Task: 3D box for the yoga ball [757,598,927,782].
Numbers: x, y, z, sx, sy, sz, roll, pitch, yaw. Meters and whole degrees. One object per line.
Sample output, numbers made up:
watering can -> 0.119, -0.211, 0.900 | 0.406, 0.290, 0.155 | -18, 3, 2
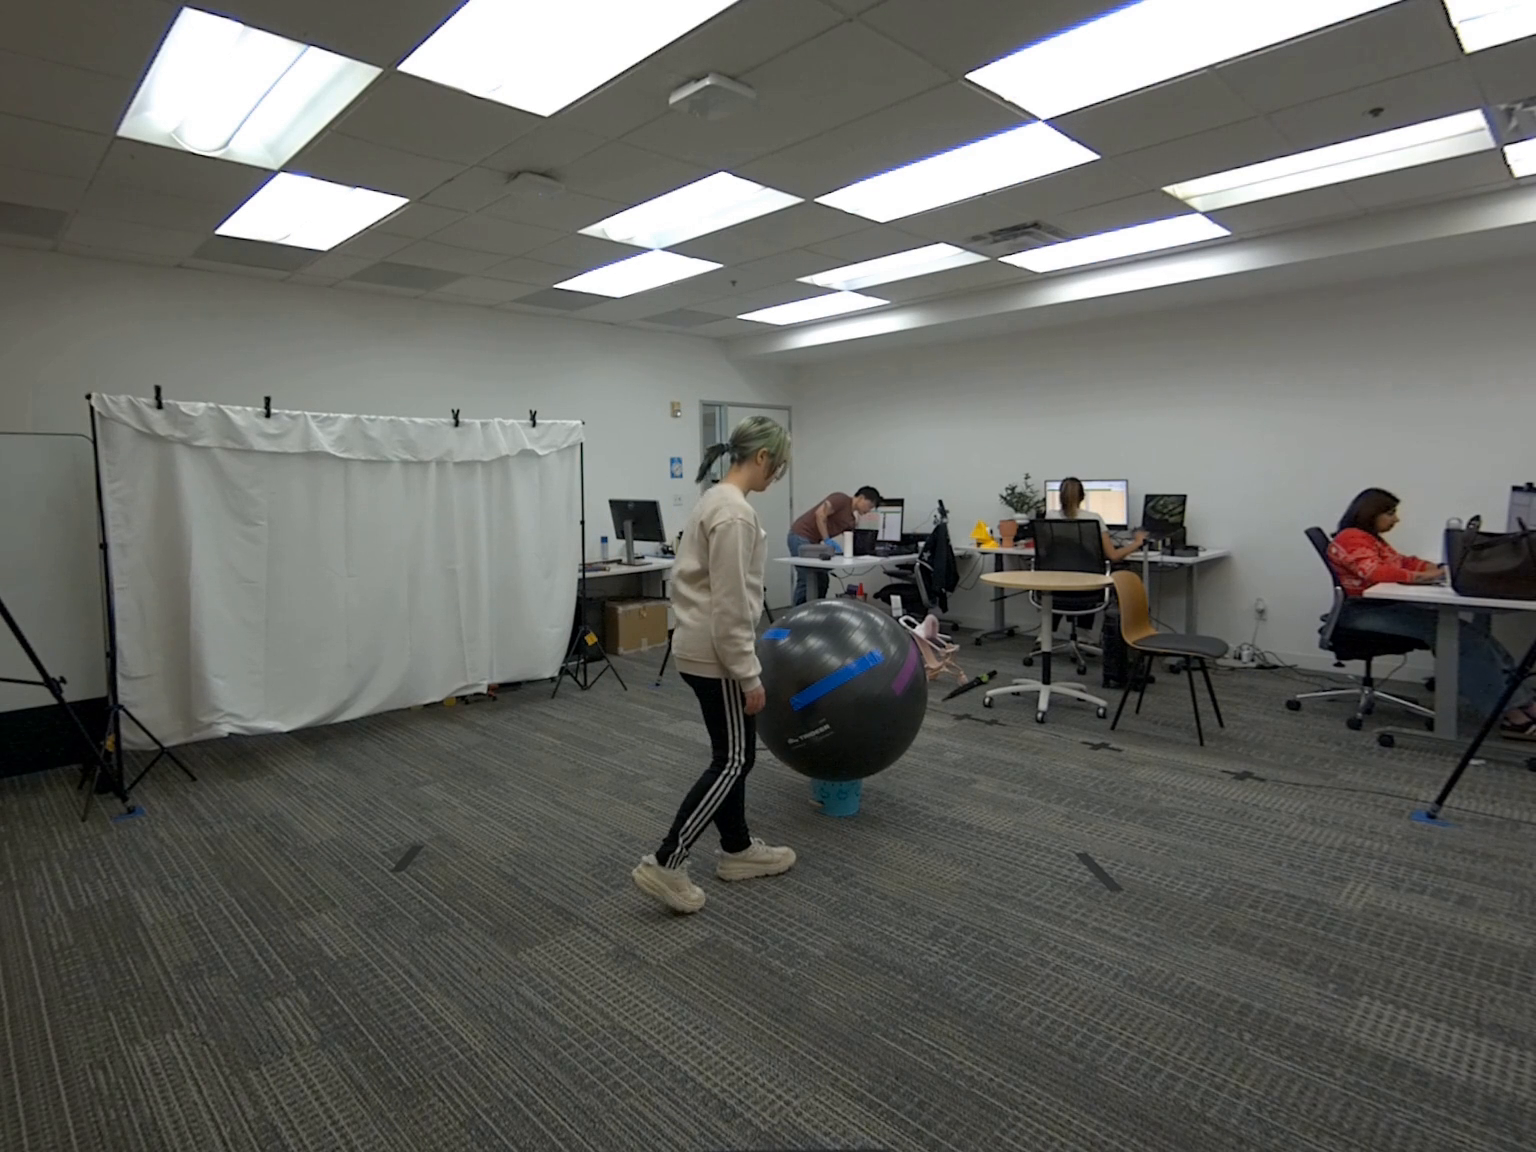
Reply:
yoga ball -> 0.290, 0.476, 3.599 | 0.757, 0.755, 0.762 | -1, 5, -2
